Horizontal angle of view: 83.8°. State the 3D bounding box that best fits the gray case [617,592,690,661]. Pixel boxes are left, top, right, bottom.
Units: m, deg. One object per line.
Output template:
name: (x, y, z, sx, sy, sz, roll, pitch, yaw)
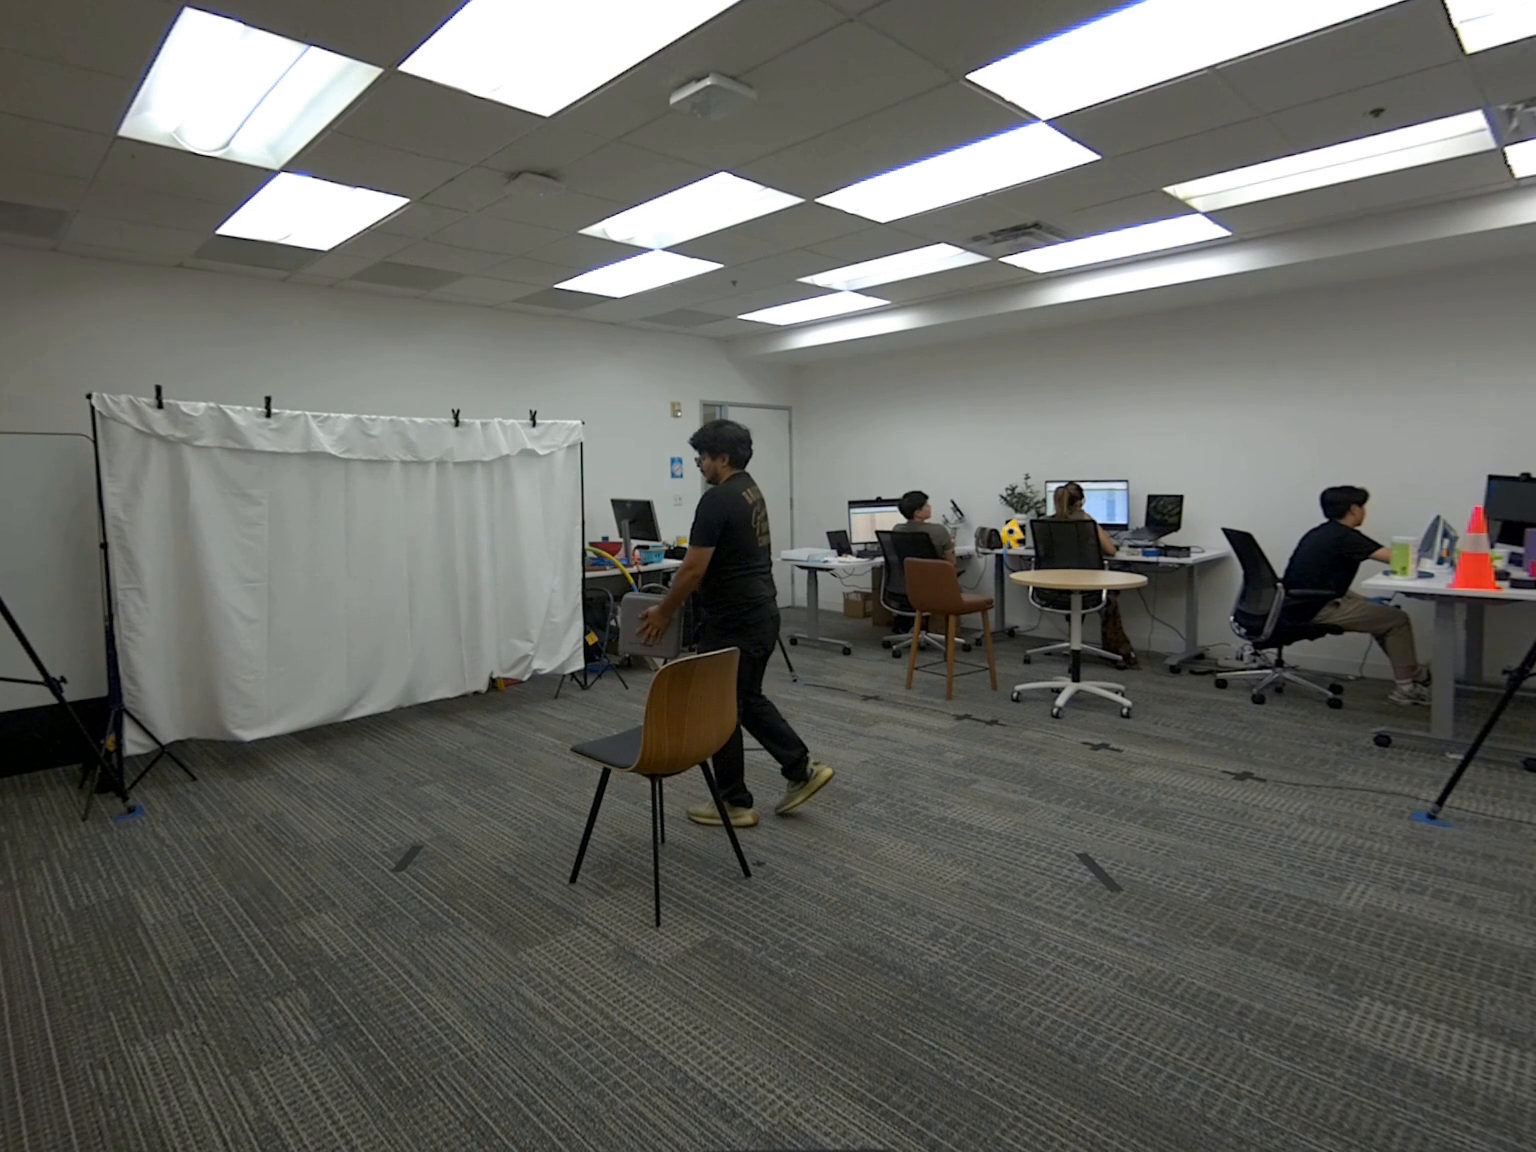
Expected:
gray case: (-0.483, 0.201, 3.538, 0.260, 0.259, 0.104, 7, 8, 10)
